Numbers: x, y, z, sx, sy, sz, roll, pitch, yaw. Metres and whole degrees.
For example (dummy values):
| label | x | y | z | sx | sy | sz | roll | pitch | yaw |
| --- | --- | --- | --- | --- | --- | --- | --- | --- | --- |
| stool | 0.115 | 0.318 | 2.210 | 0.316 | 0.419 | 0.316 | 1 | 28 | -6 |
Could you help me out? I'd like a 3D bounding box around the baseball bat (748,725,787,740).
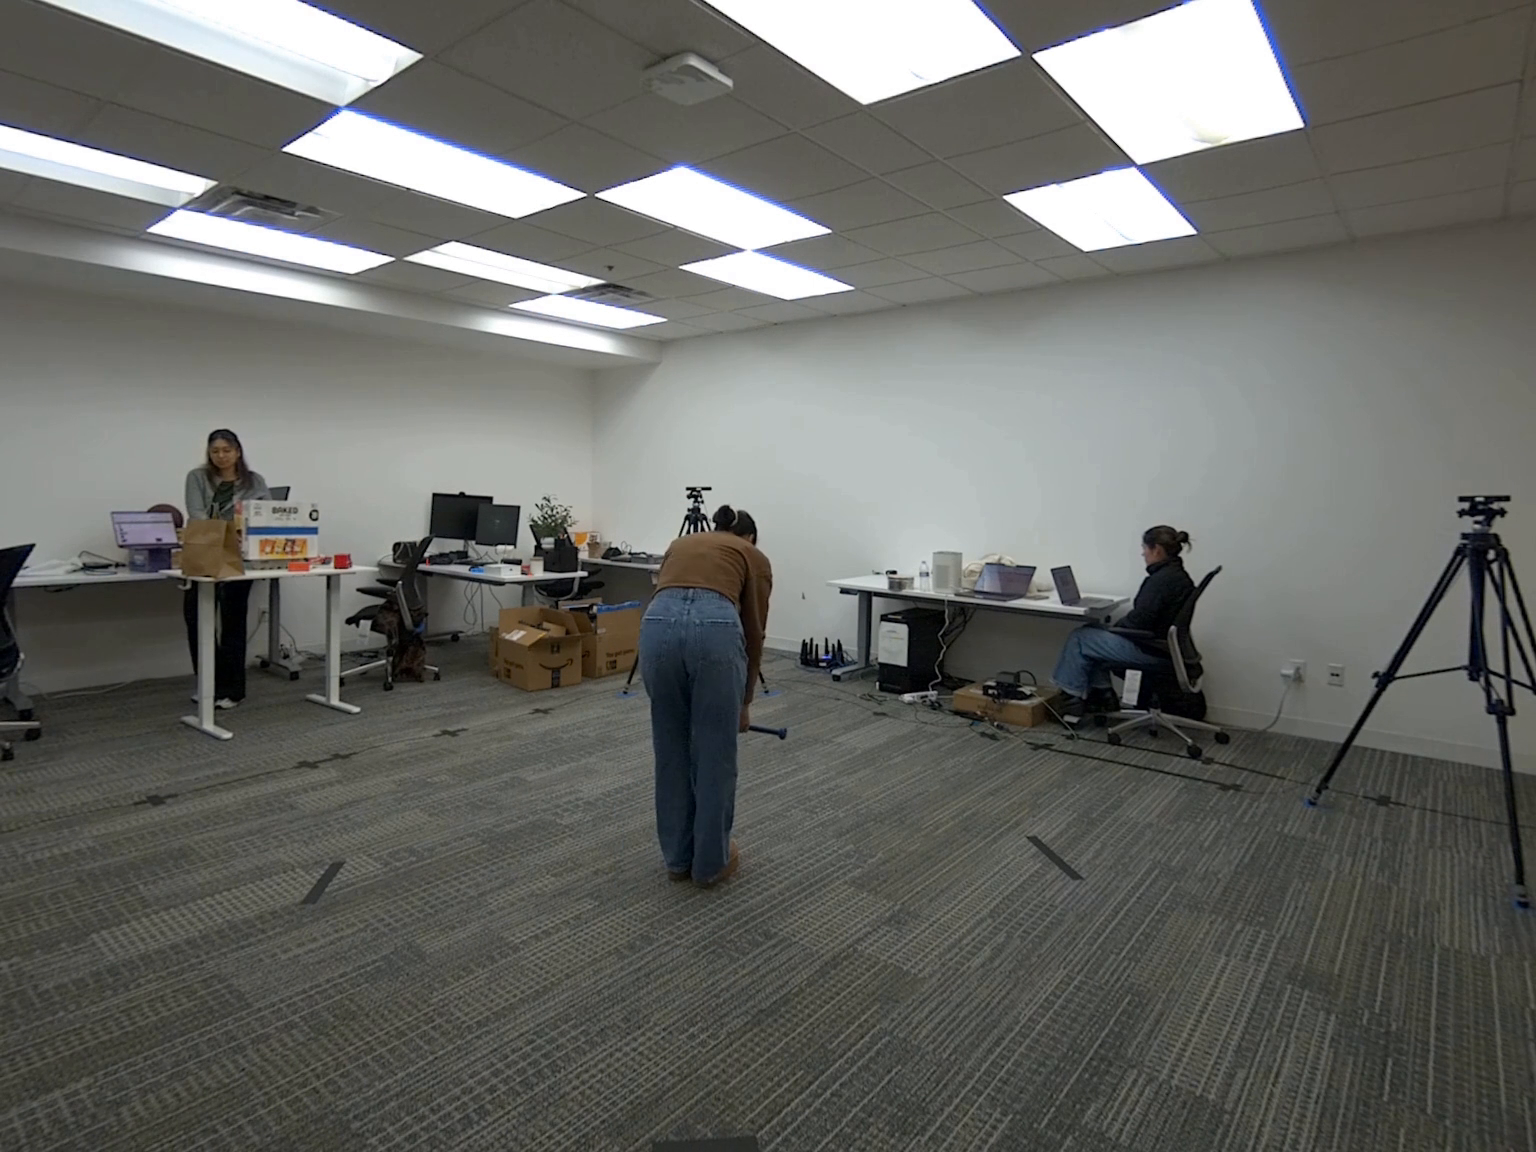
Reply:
| label | x | y | z | sx | sy | sz | roll | pitch | yaw |
| --- | --- | --- | --- | --- | --- | --- | --- | --- | --- |
| baseball bat | -0.198 | 0.562 | 3.265 | 0.554 | 0.089 | 0.087 | 4 | 5 | 18 |
